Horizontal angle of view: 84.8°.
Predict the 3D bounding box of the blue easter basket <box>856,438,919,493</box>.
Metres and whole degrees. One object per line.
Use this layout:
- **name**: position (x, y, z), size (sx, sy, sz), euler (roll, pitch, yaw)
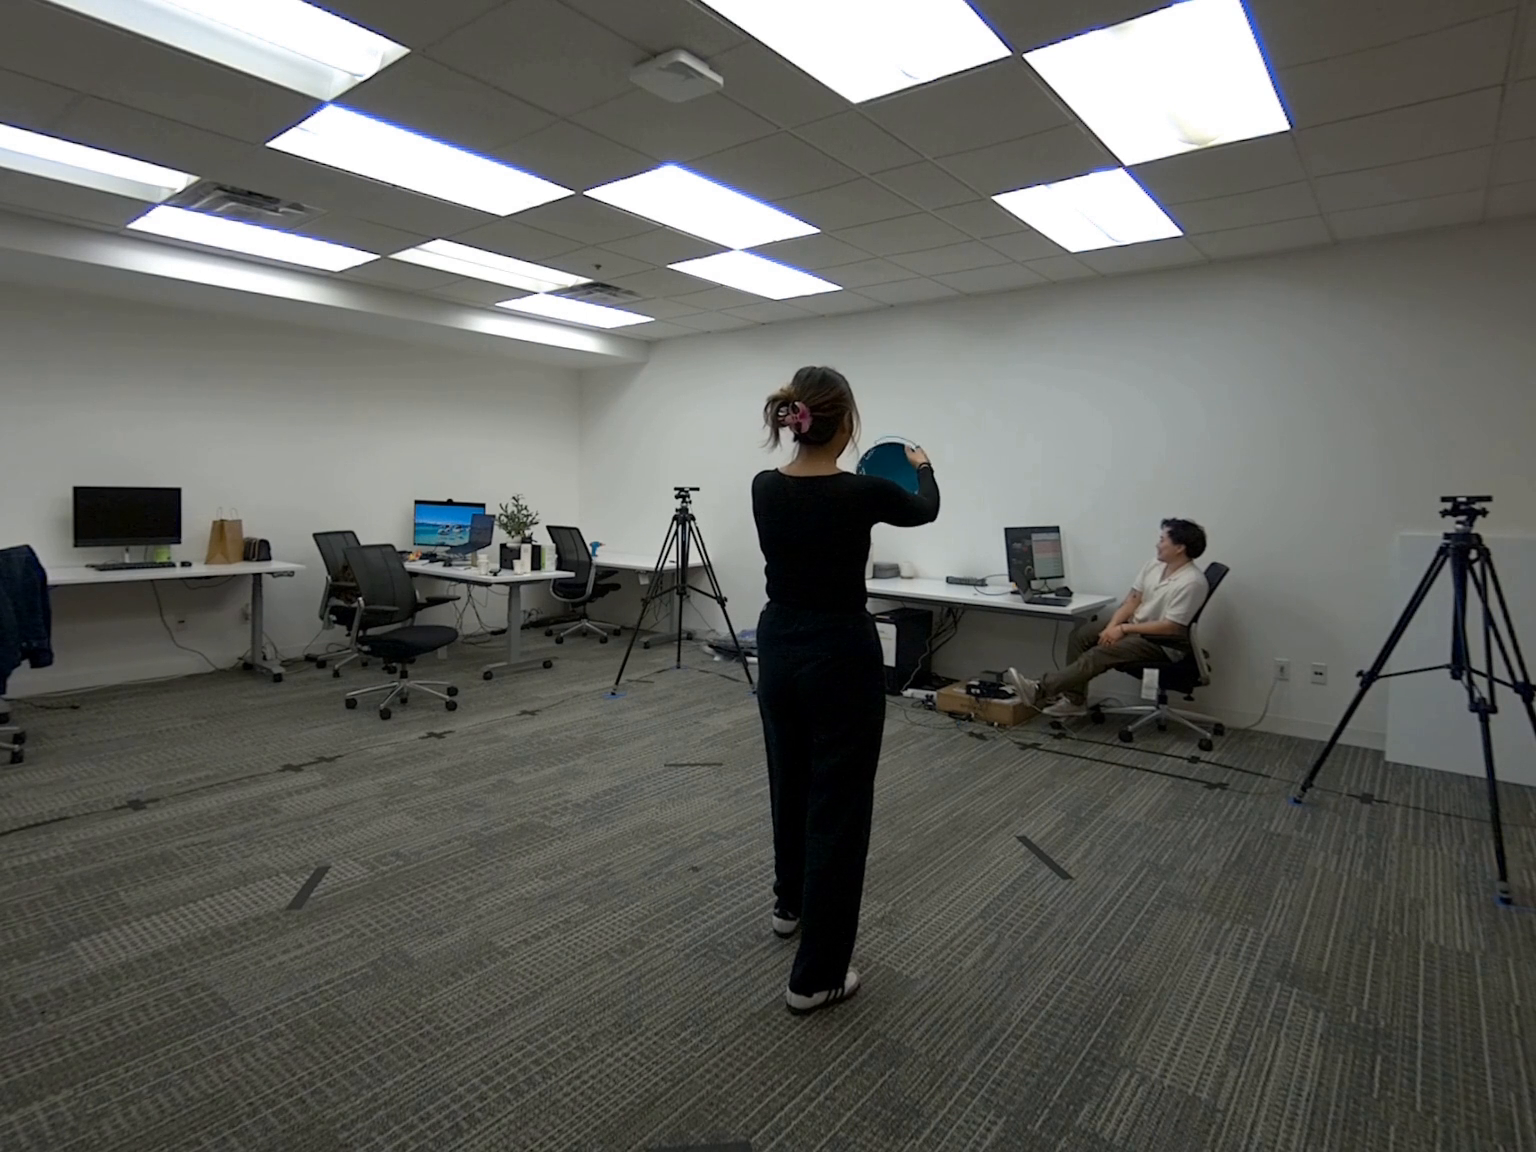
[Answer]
- **blue easter basket**: position (0.427, -0.344, 2.852), size (0.248, 0.240, 0.155), euler (2, 15, 18)
